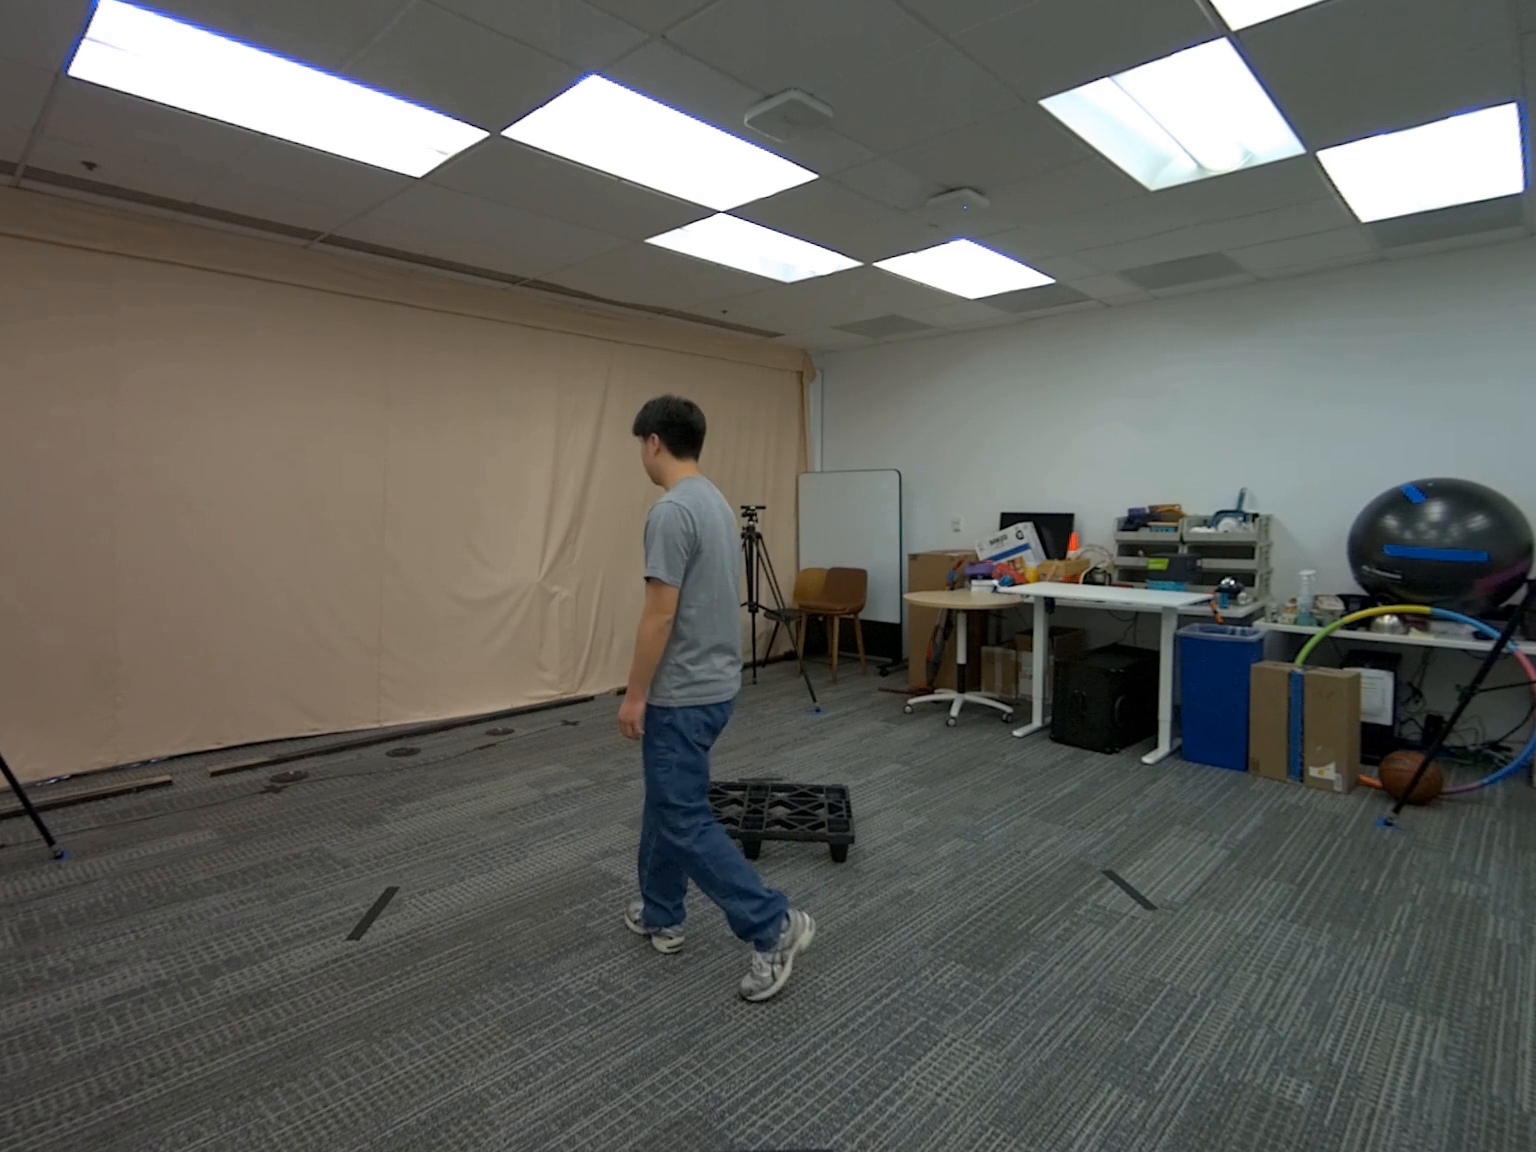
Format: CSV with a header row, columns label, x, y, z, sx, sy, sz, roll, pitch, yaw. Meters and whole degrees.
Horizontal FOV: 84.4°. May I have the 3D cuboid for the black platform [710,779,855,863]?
label,x,y,z,sx,sy,sz,roll,pitch,yaw
black platform,-0.045,1.026,3.538,0.811,0.143,0.603,0,5,5
